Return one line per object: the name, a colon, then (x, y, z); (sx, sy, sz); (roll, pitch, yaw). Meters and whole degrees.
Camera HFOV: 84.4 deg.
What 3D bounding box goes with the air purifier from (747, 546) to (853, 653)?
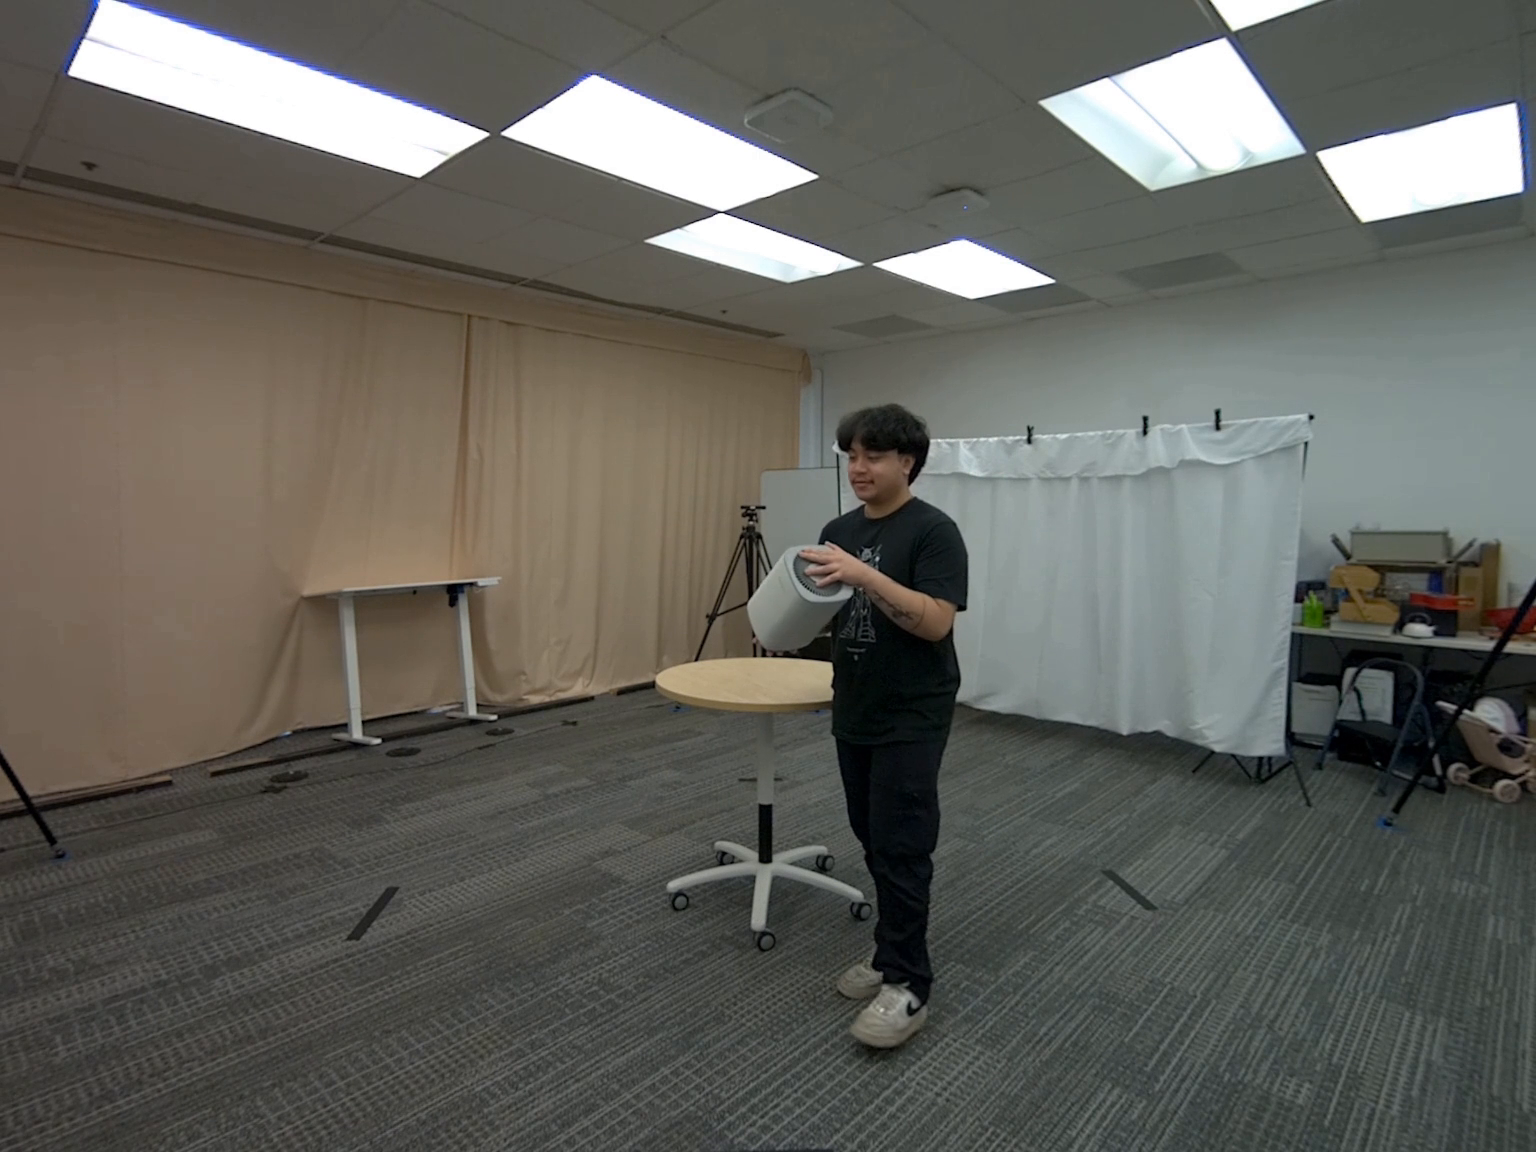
air purifier: (0.077, 0.065, 2.206); (0.167, 0.175, 0.266); (-2, -33, -28)
